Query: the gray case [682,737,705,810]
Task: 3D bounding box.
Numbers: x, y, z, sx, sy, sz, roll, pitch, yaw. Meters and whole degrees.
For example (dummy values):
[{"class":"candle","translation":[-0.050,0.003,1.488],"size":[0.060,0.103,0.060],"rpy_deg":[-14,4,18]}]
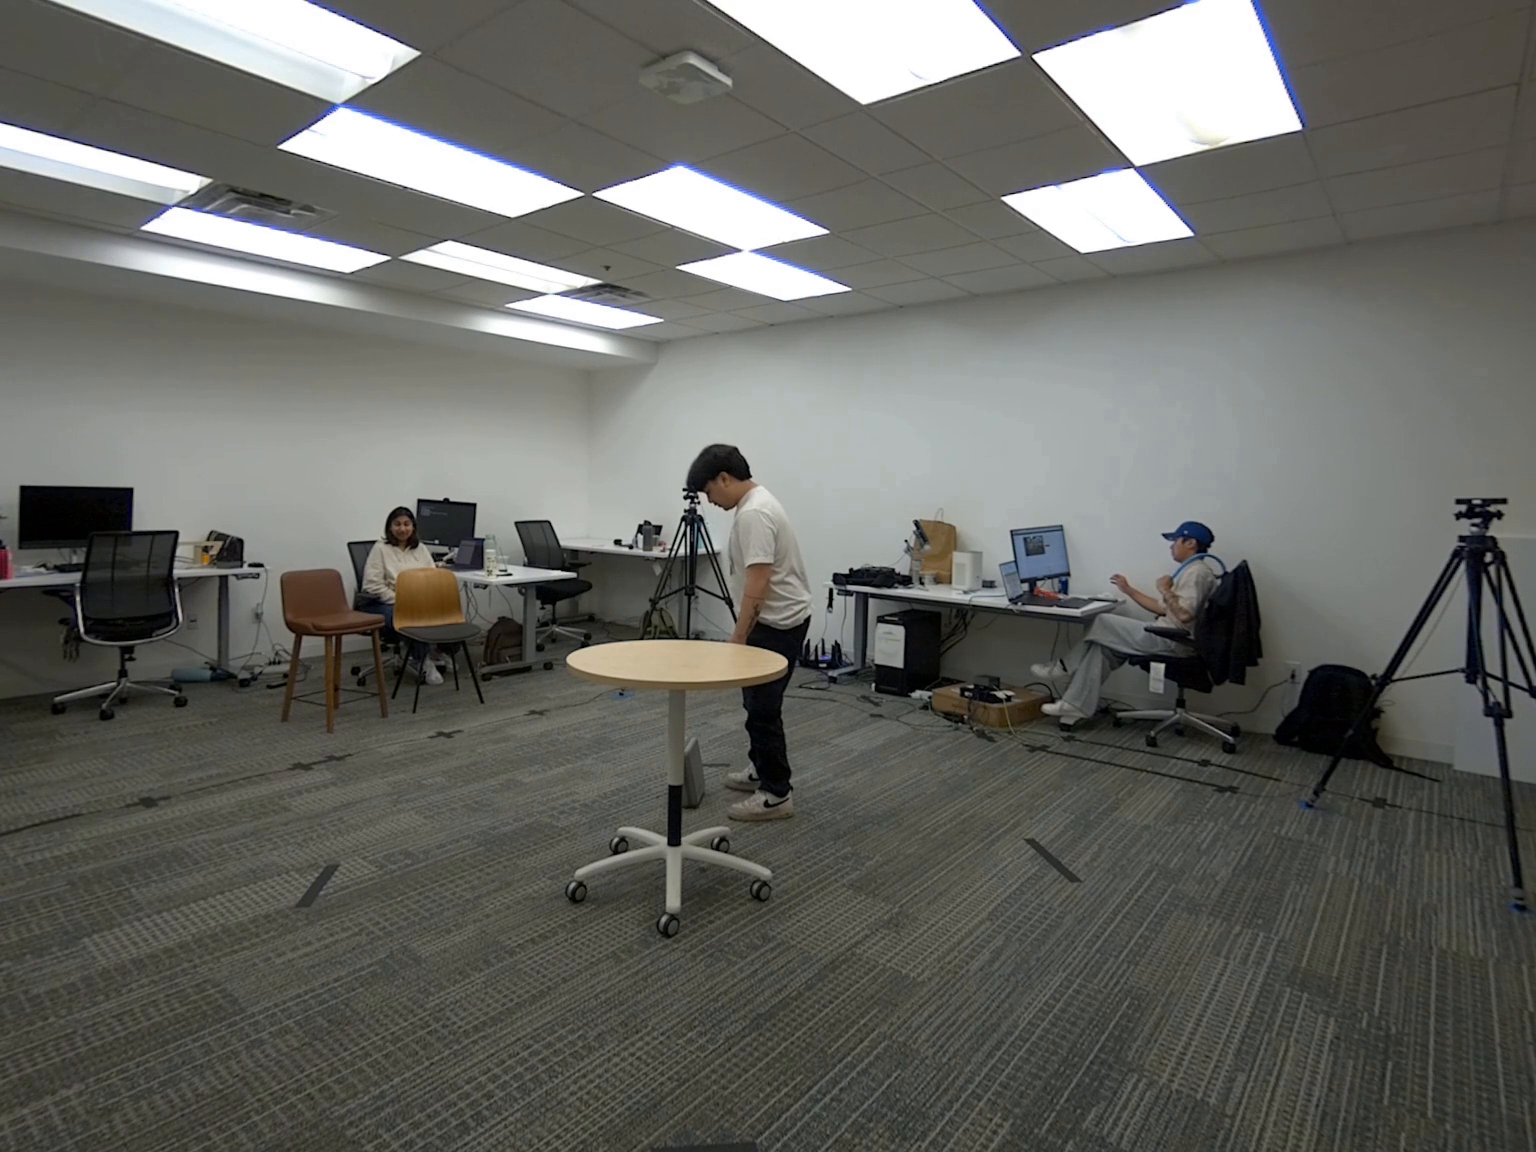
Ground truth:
[{"class":"gray case","translation":[-0.388,0.878,3.811],"size":[0.105,0.260,0.257],"rpy_deg":[-11,4,3]}]
